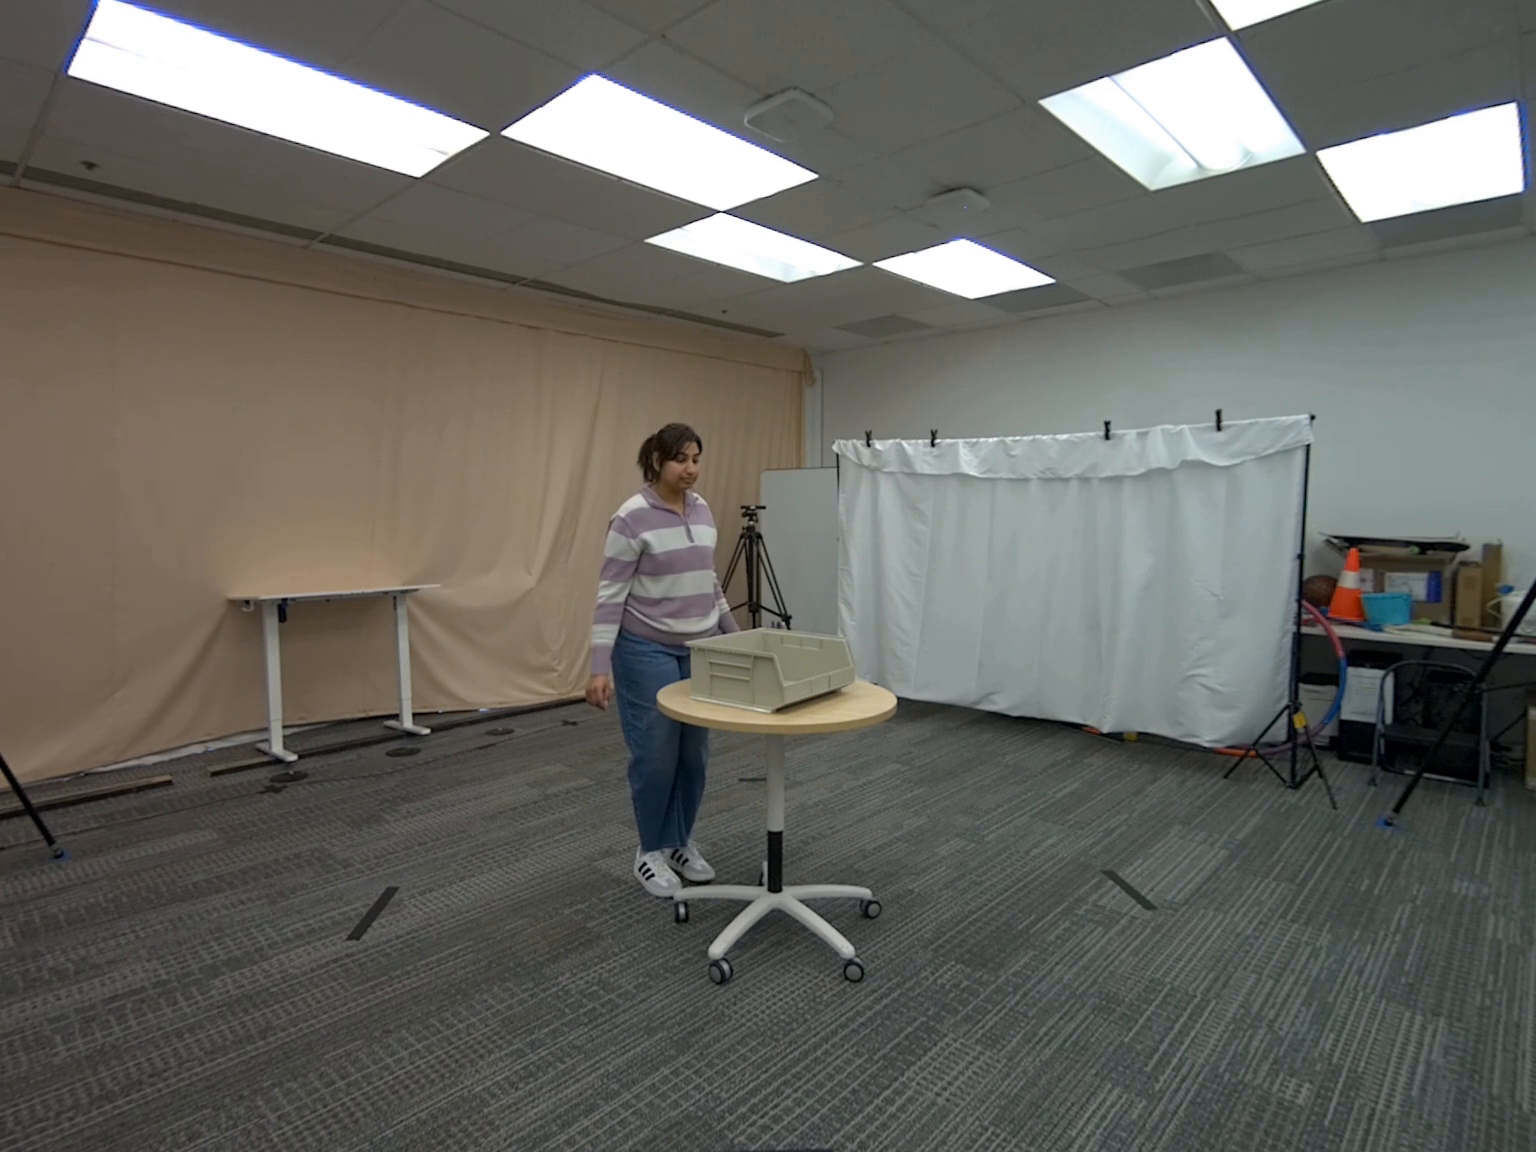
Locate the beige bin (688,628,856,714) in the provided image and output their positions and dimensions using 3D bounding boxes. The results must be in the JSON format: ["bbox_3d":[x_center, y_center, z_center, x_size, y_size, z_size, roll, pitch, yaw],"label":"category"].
[{"bbox_3d":[0.016,0.295,2.688,0.389,0.188,0.410,2,5,36],"label":"beige bin"}]
